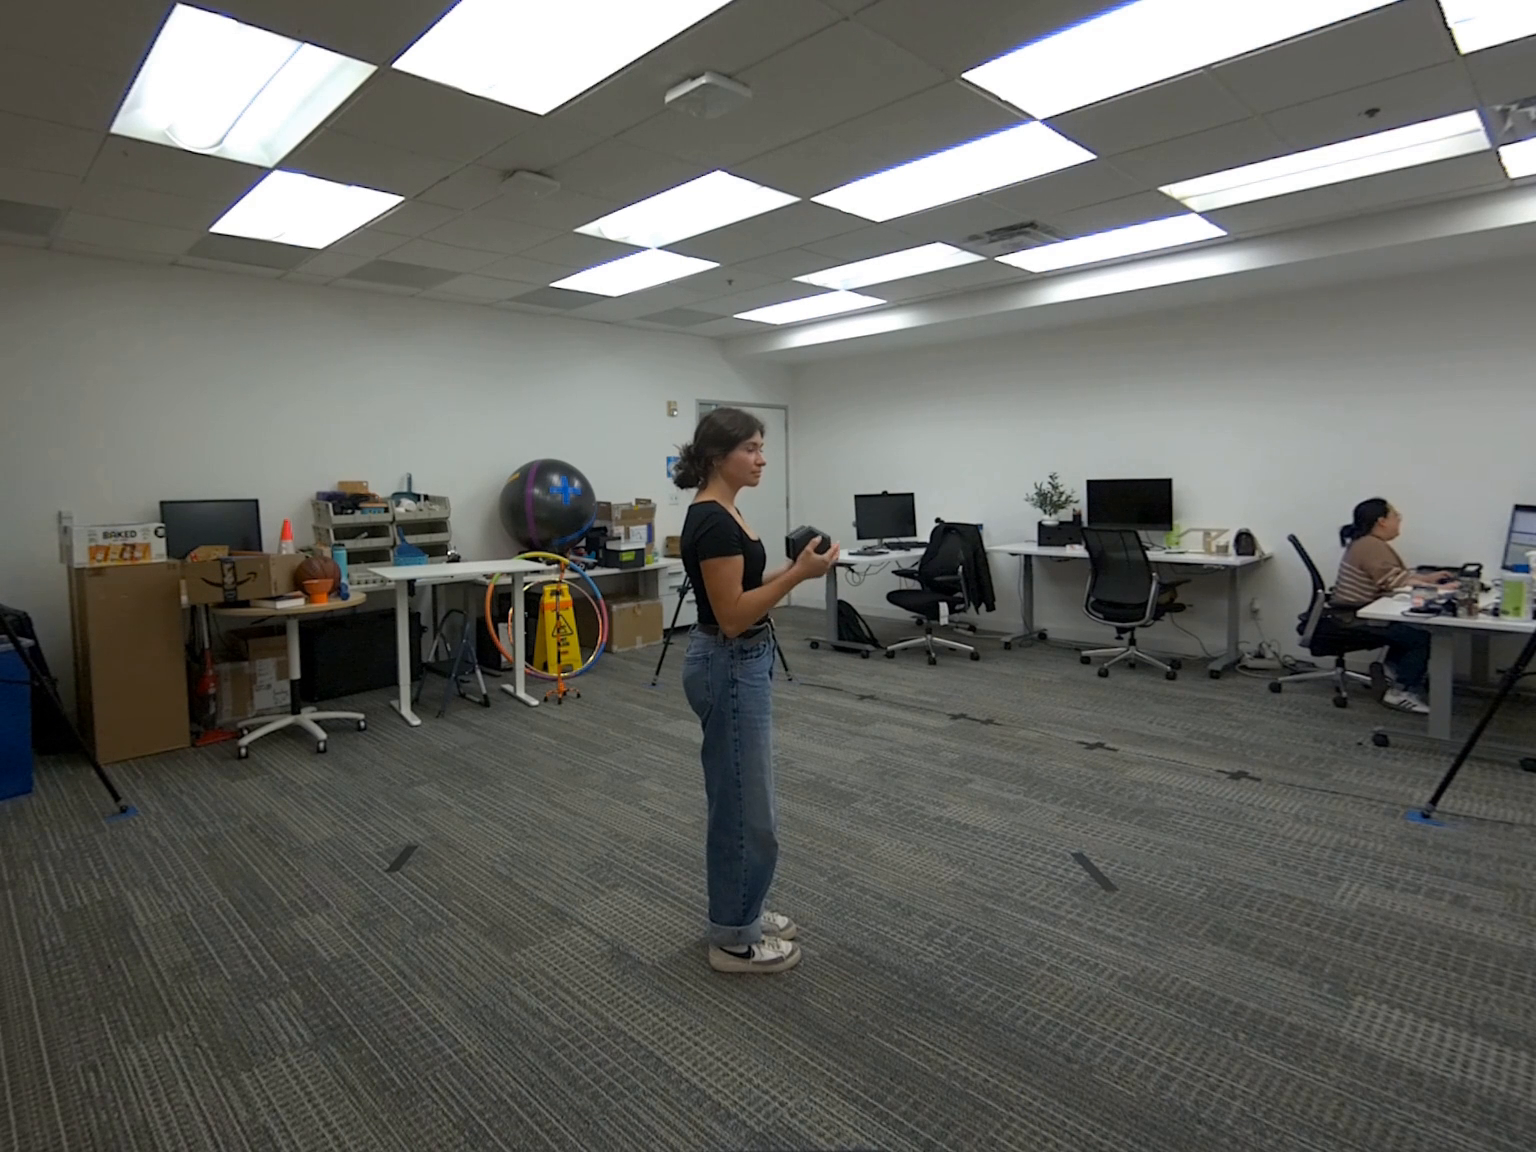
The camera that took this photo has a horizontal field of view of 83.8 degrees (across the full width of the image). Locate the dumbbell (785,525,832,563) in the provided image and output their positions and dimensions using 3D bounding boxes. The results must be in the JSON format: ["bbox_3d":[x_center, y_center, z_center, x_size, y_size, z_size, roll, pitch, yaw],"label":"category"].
[{"bbox_3d":[0.116,-0.074,2.437,0.108,0.122,0.295,5,5,-3],"label":"dumbbell"}]
